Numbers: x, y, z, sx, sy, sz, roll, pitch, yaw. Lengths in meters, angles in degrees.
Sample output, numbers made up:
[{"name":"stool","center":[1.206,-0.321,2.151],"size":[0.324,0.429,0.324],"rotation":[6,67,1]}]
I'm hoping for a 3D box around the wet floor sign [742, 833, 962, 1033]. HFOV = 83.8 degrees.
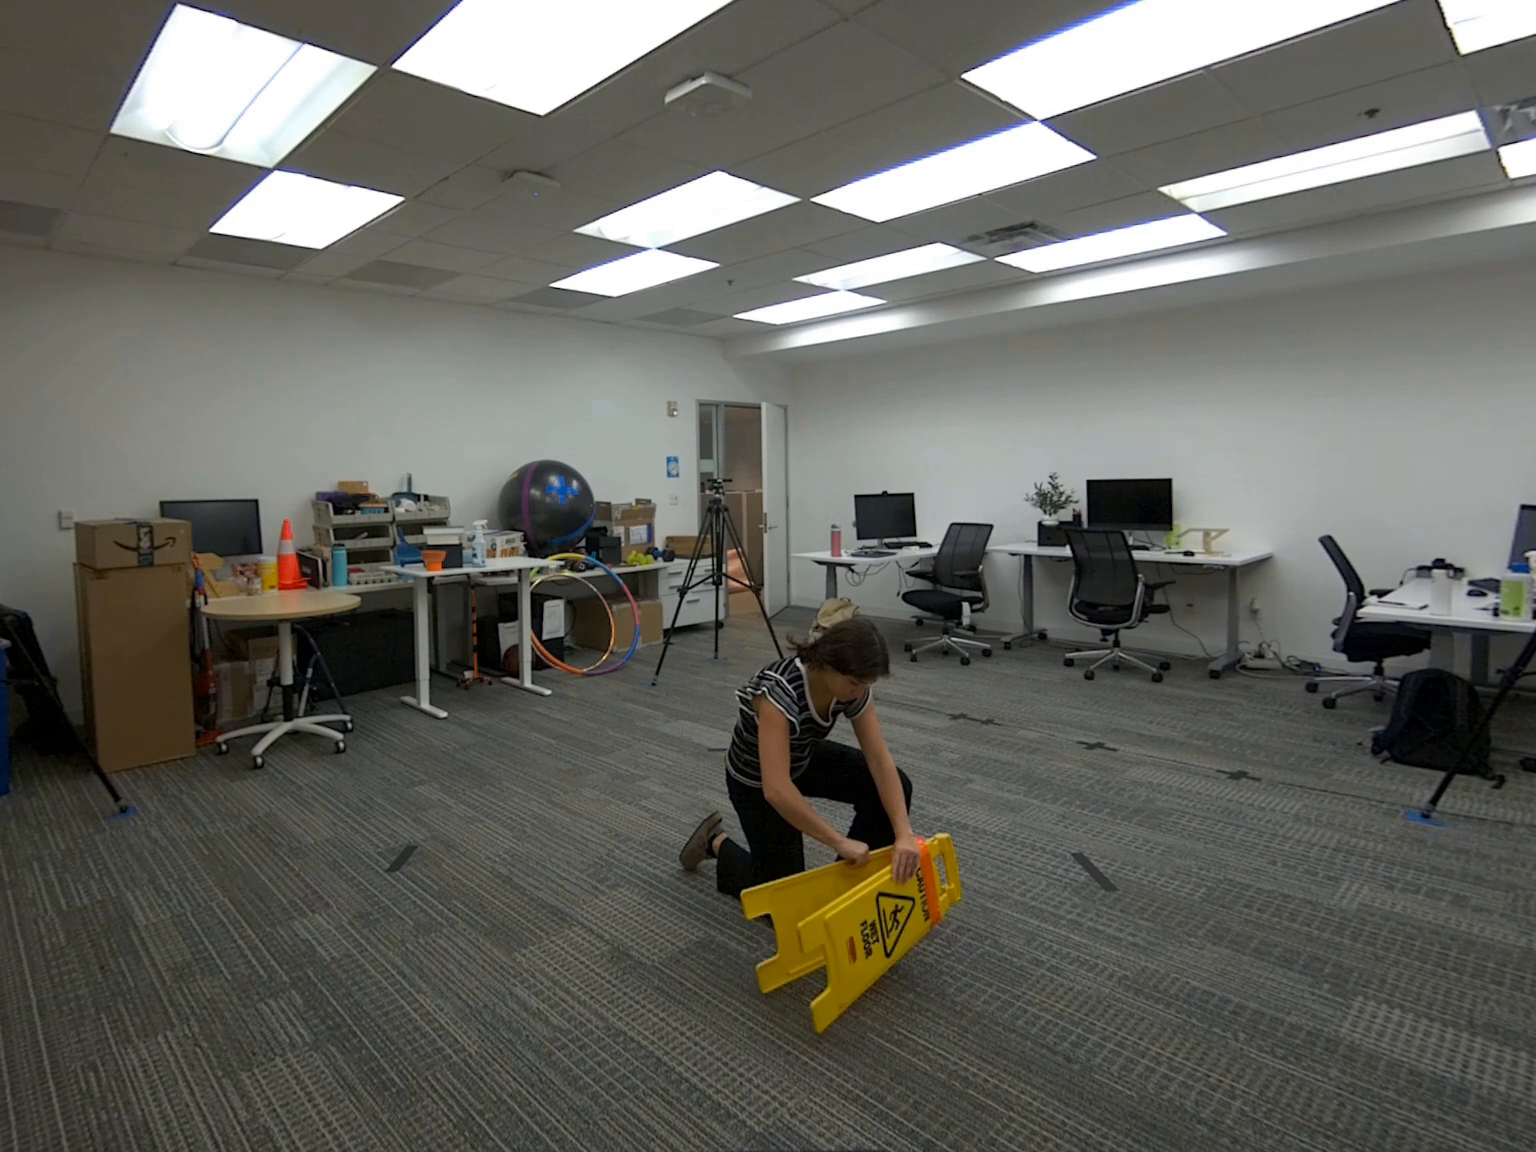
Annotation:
[{"name":"wet floor sign","center":[0.292,0.924,2.347],"size":[0.634,0.281,0.297],"rotation":[-15,7,-32]}]
